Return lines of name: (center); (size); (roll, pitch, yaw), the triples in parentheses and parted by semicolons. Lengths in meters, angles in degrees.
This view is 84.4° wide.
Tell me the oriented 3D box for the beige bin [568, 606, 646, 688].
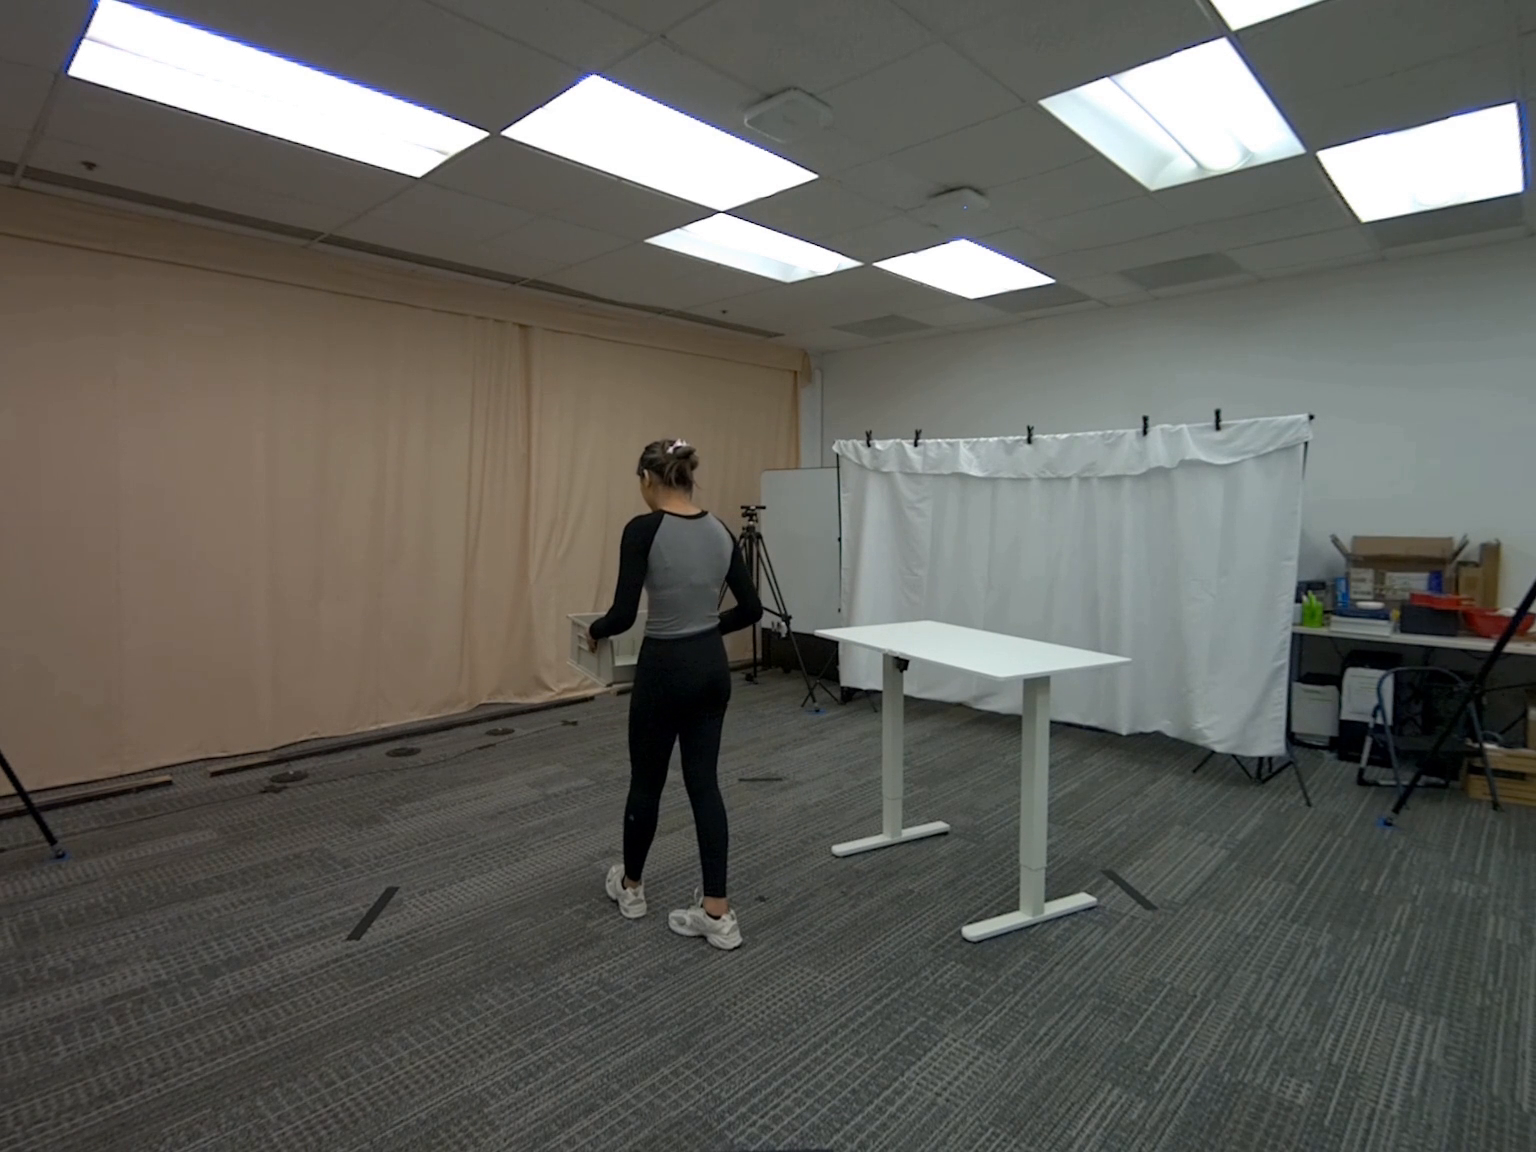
beige bin: (-0.456, 0.252, 3.008); (0.410, 0.188, 0.390); (-3, 10, -34)
